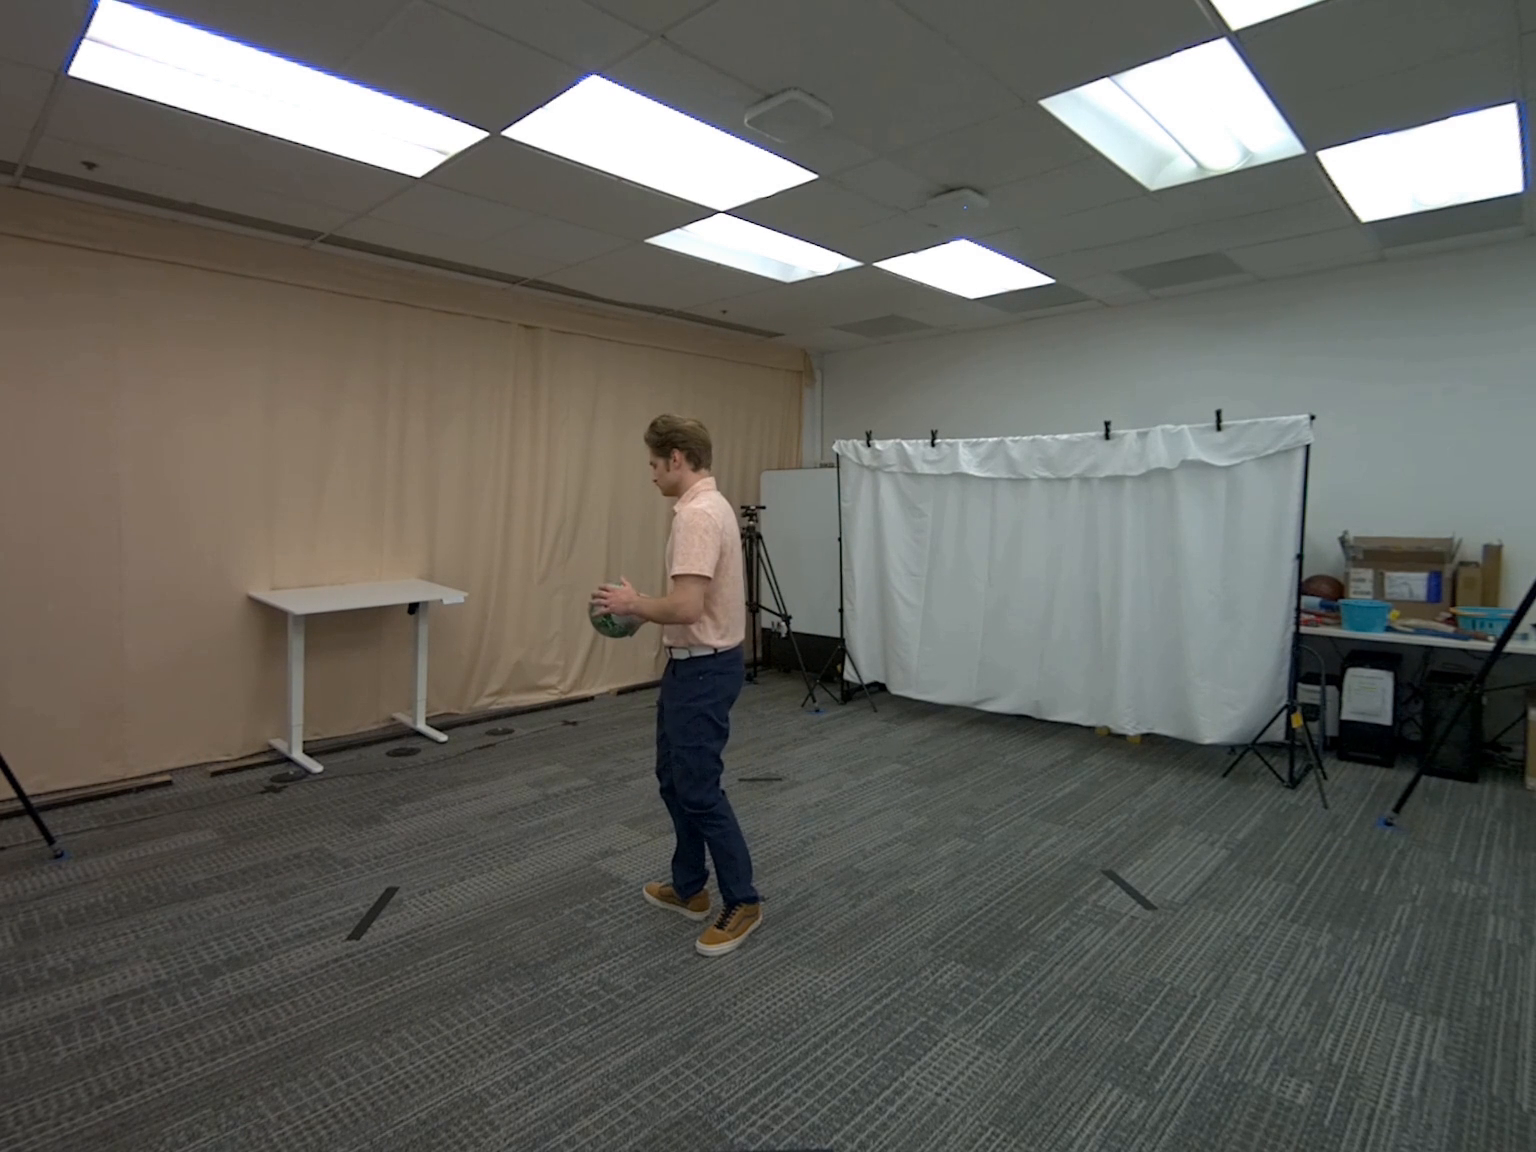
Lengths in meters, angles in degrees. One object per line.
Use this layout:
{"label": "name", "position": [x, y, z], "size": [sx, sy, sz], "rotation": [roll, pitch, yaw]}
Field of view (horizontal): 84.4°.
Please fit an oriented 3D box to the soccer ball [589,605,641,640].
{"label": "soccer ball", "position": [-0.501, 0.119, 2.819], "size": [0.187, 0.187, 0.188], "rotation": [0, 4, -2]}
